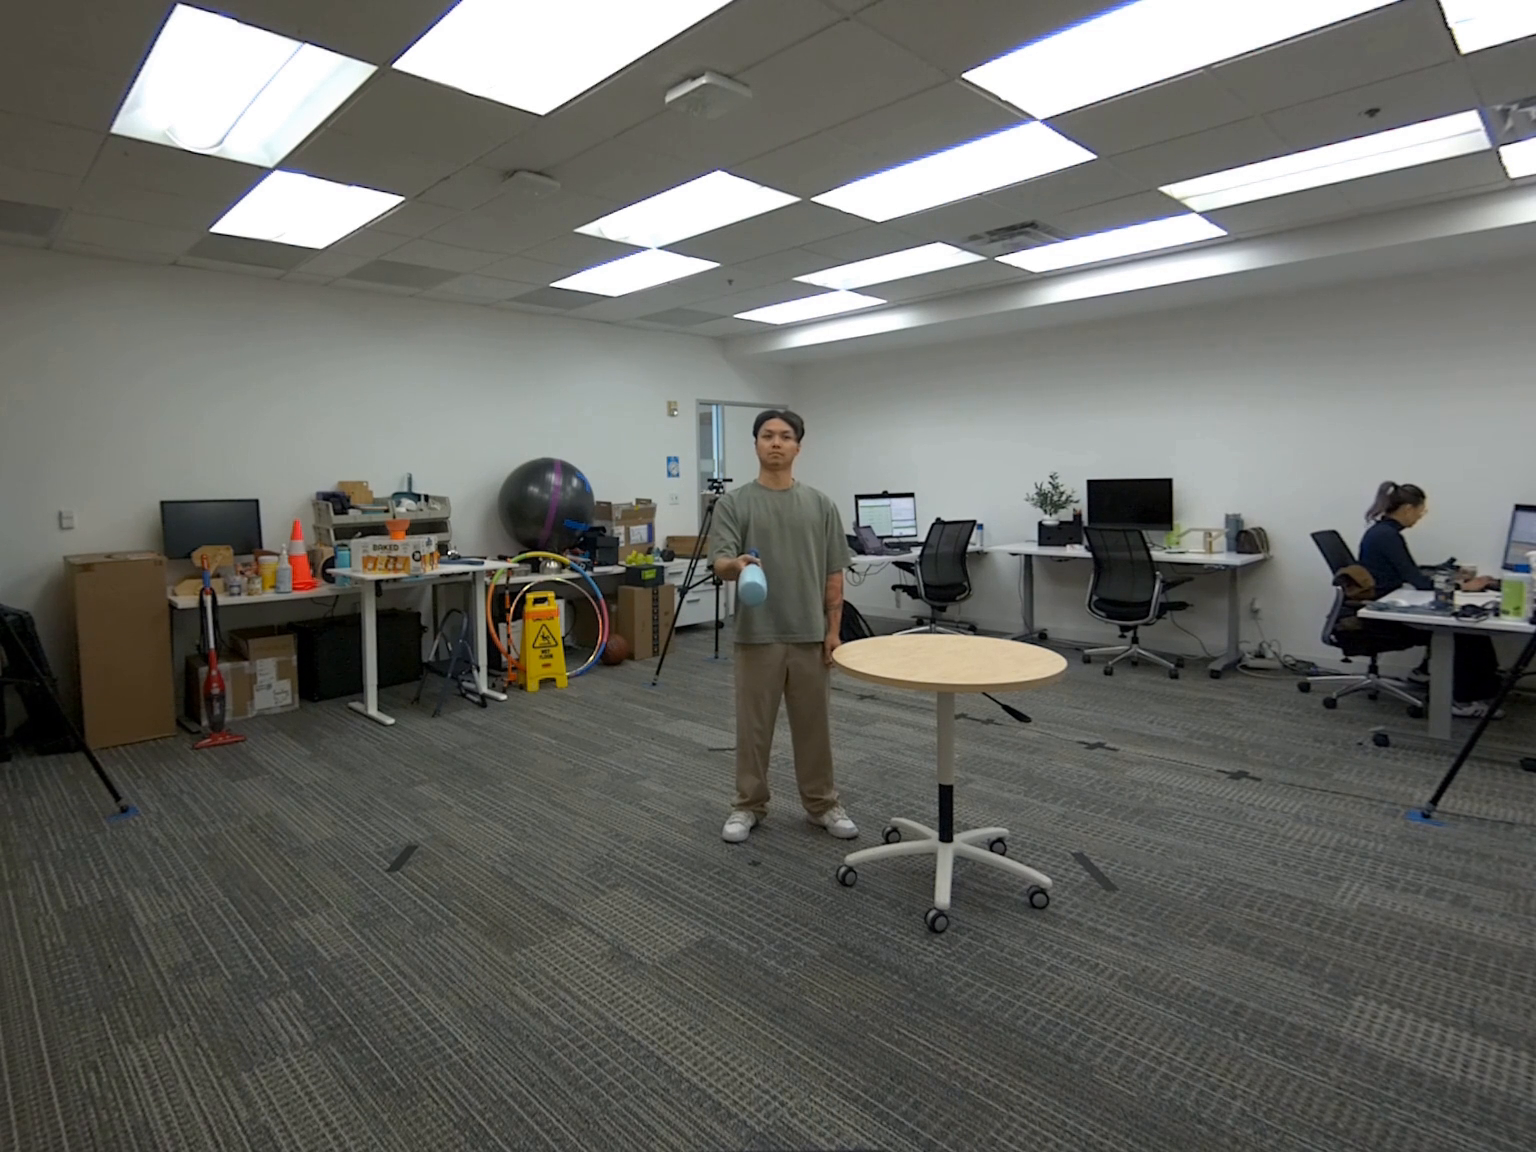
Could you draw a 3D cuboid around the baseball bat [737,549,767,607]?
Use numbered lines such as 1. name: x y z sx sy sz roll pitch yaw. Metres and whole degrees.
1. baseball bat: -0.053 0.020 2.807 0.089 0.088 0.547 -1 12 1
